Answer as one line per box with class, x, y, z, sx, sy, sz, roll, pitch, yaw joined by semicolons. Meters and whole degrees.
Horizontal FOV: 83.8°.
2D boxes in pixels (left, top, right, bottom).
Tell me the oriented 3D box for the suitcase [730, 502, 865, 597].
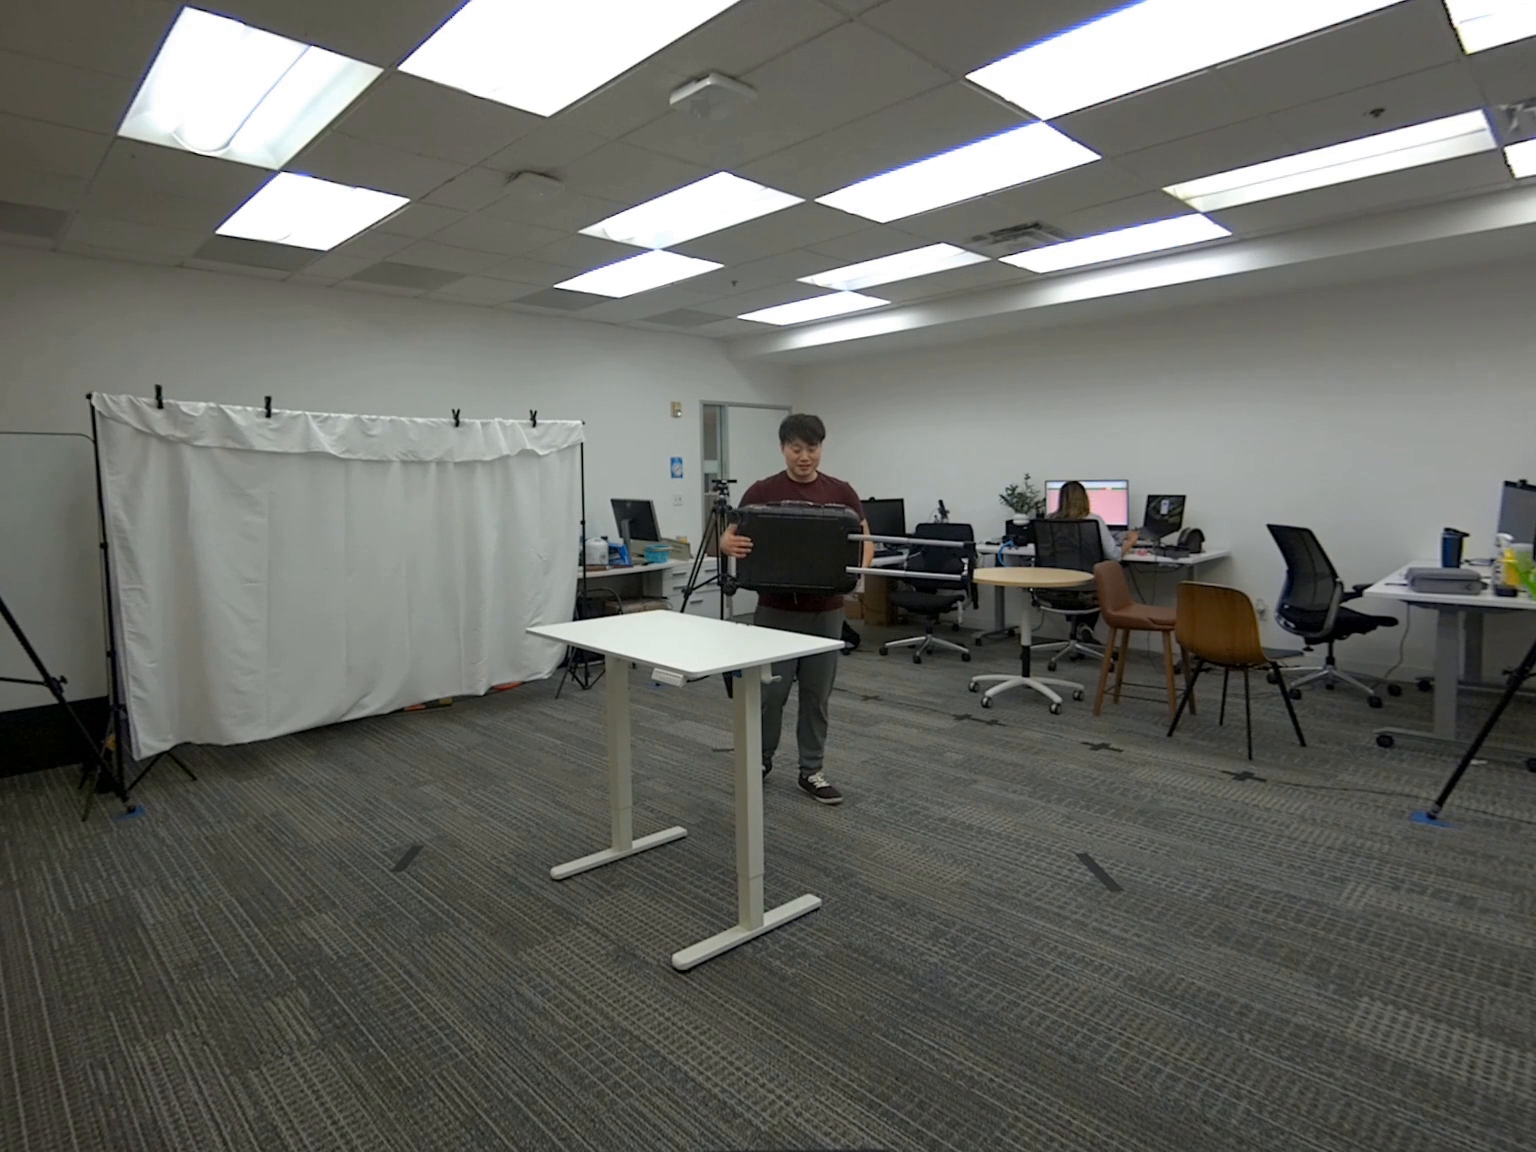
suitcase;0.310;-0.102;3.497;0.980;0.383;0.257;1;4;2
